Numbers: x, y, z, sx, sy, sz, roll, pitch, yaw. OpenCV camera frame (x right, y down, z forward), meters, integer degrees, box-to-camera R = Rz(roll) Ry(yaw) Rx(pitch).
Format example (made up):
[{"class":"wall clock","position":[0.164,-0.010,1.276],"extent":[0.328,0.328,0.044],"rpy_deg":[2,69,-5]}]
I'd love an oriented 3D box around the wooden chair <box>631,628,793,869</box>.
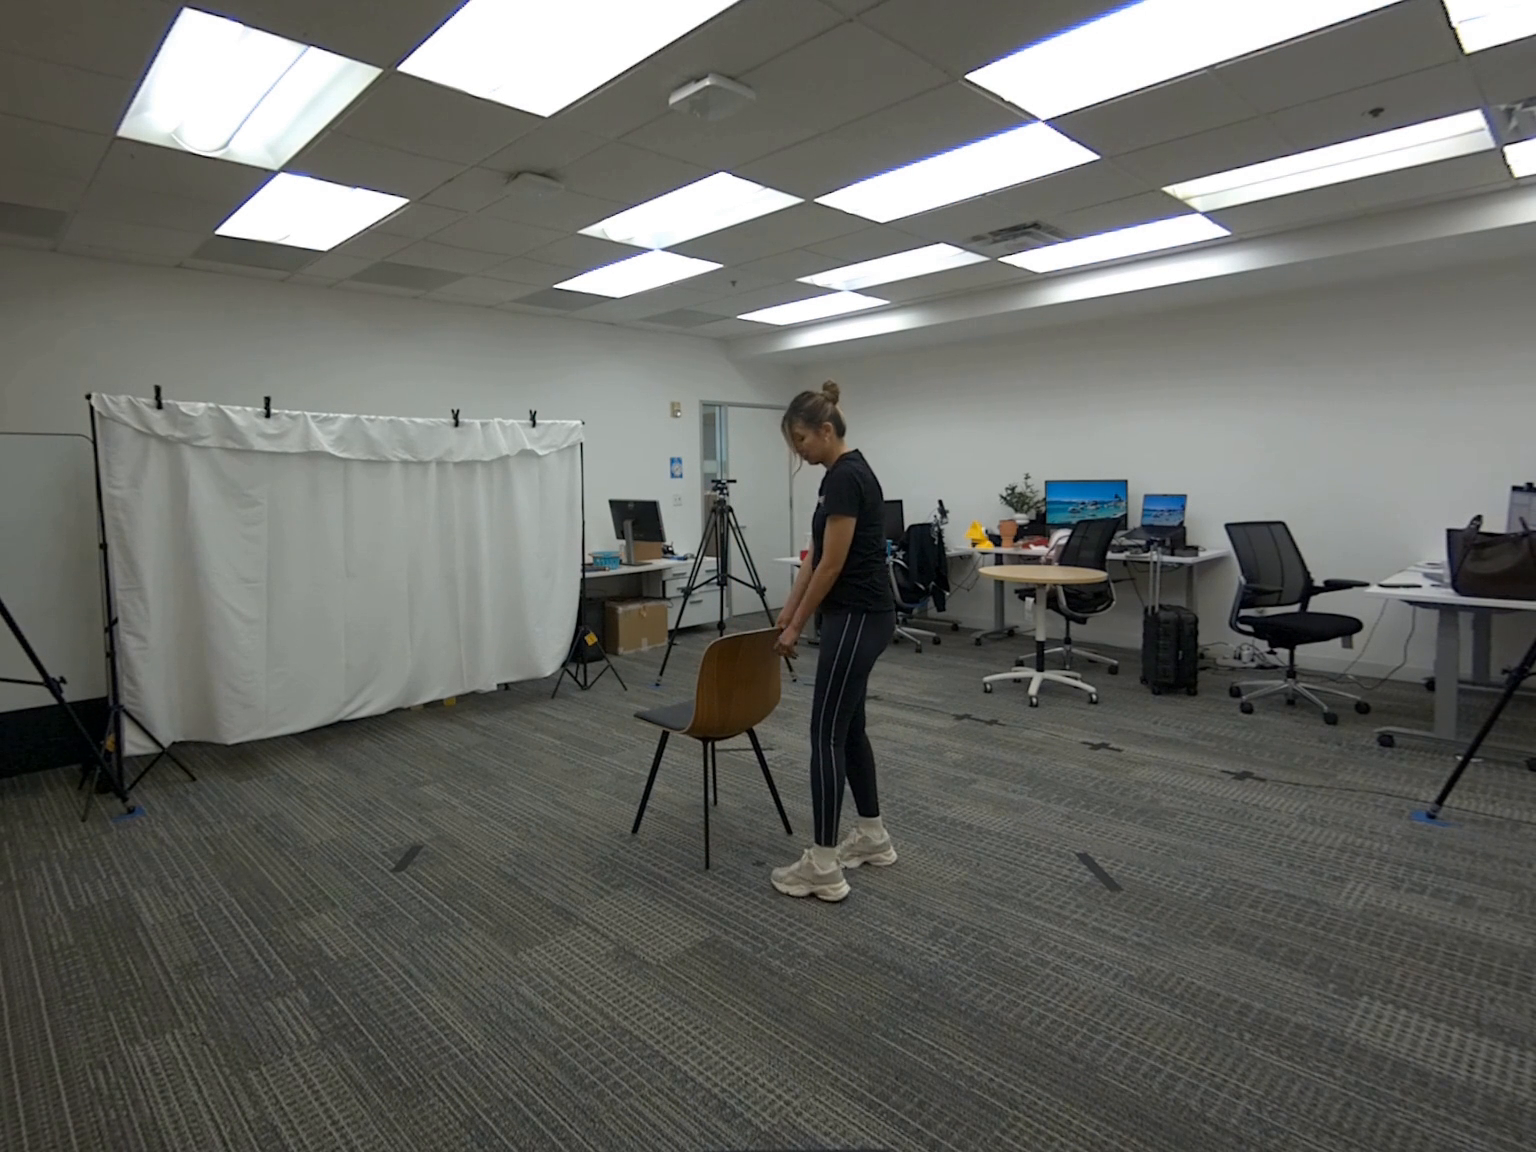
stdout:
[{"class":"wooden chair","position":[-0.234,0.595,3.352],"extent":[0.465,0.872,0.541],"rpy_deg":[-5,10,-43]}]
